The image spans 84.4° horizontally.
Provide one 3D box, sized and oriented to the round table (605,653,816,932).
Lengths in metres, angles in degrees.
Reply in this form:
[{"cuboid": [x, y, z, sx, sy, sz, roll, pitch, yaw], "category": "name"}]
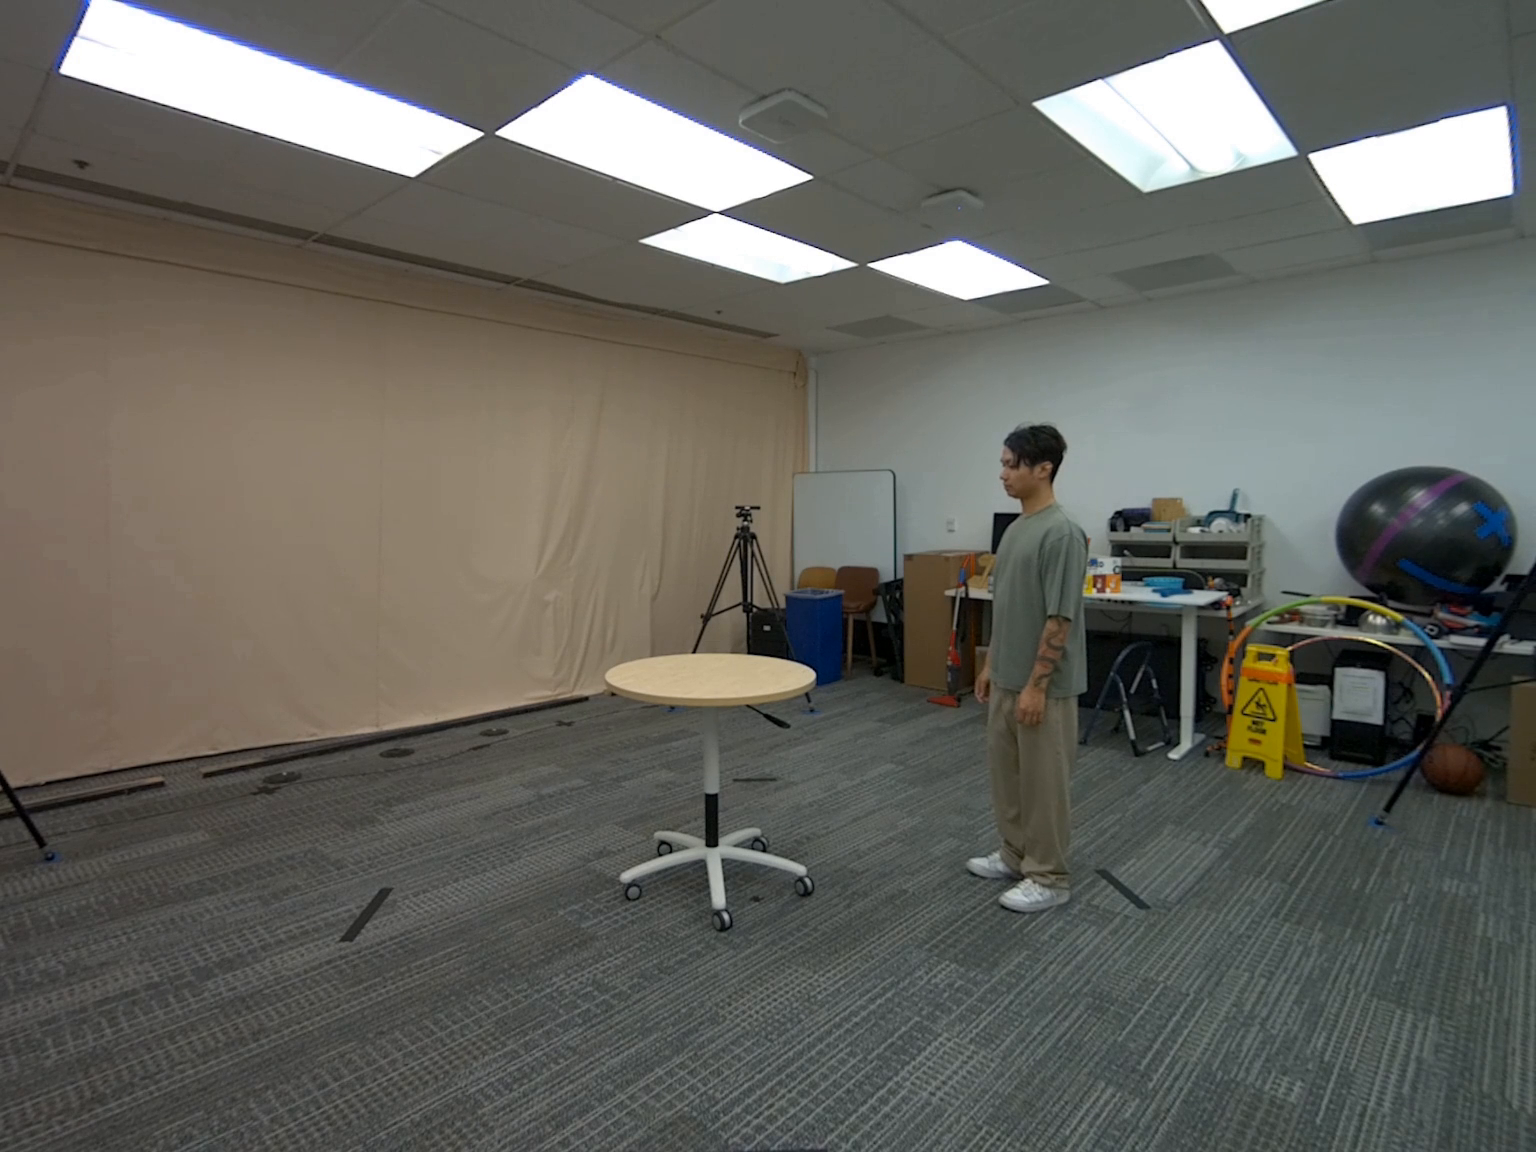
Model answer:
[{"cuboid": [-0.211, 0.744, 3.110, 0.784, 0.785, 0.788, 0, 4, -2], "category": "round table"}]
